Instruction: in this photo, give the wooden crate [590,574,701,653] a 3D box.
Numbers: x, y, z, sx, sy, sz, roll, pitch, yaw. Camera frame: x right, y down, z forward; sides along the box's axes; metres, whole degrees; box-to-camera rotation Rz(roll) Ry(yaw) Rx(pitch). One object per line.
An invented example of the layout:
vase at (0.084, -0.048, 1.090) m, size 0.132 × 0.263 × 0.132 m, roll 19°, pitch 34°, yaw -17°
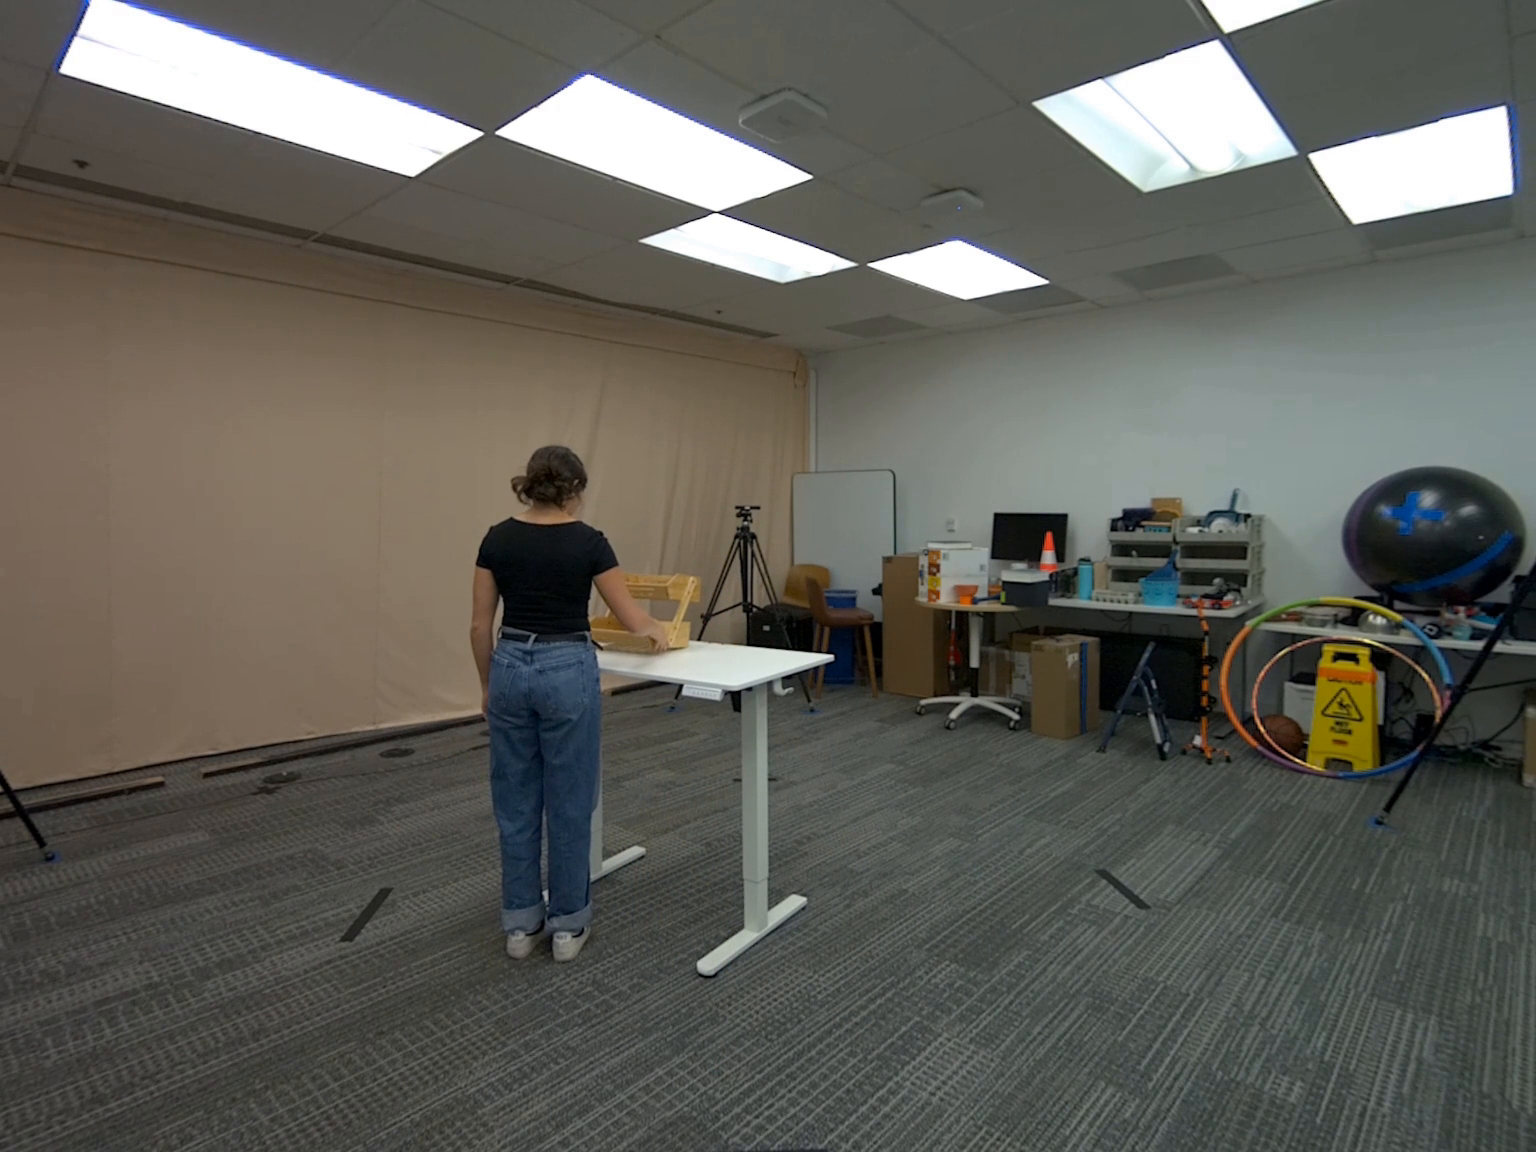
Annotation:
wooden crate at (-0.457, 0.117, 3.060) m, size 0.334 × 0.274 × 0.293 m, roll 1°, pitch -4°, yaw 30°
